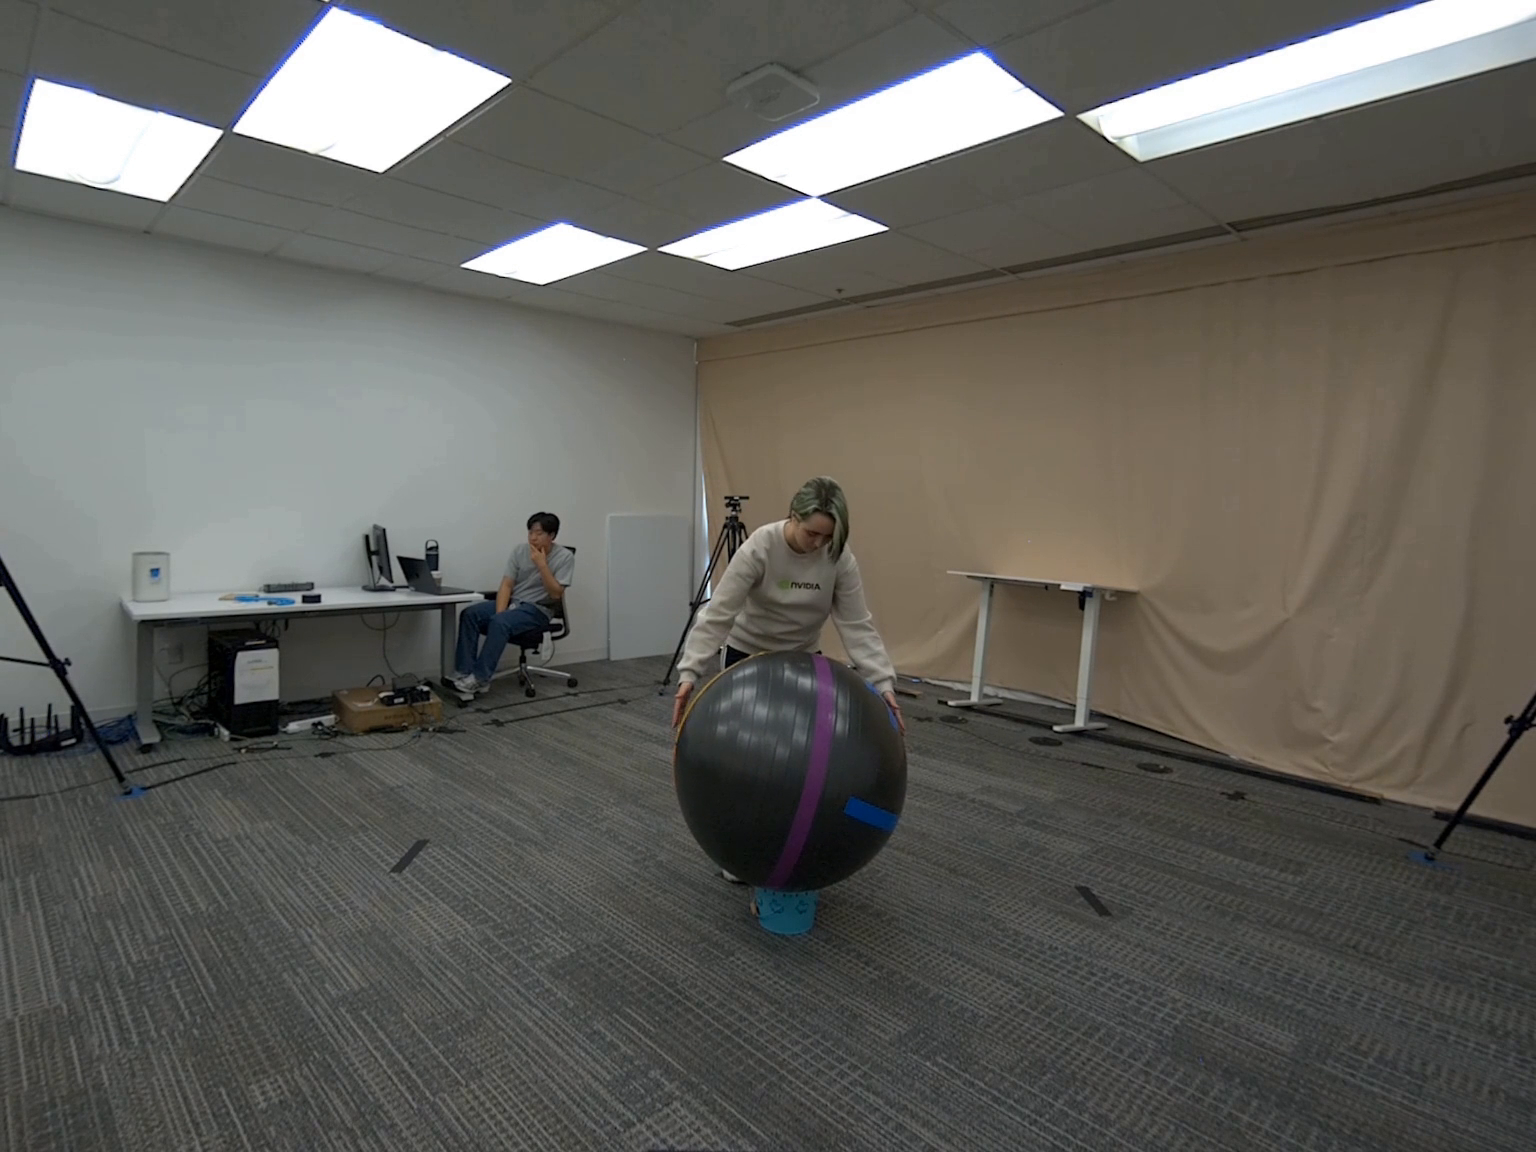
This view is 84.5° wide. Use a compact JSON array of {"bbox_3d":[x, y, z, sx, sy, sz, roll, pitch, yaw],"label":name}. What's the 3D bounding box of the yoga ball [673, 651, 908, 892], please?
[{"bbox_3d":[0.065,0.635,2.744,0.757,0.756,0.761,1,4,-1],"label":"yoga ball"}]
